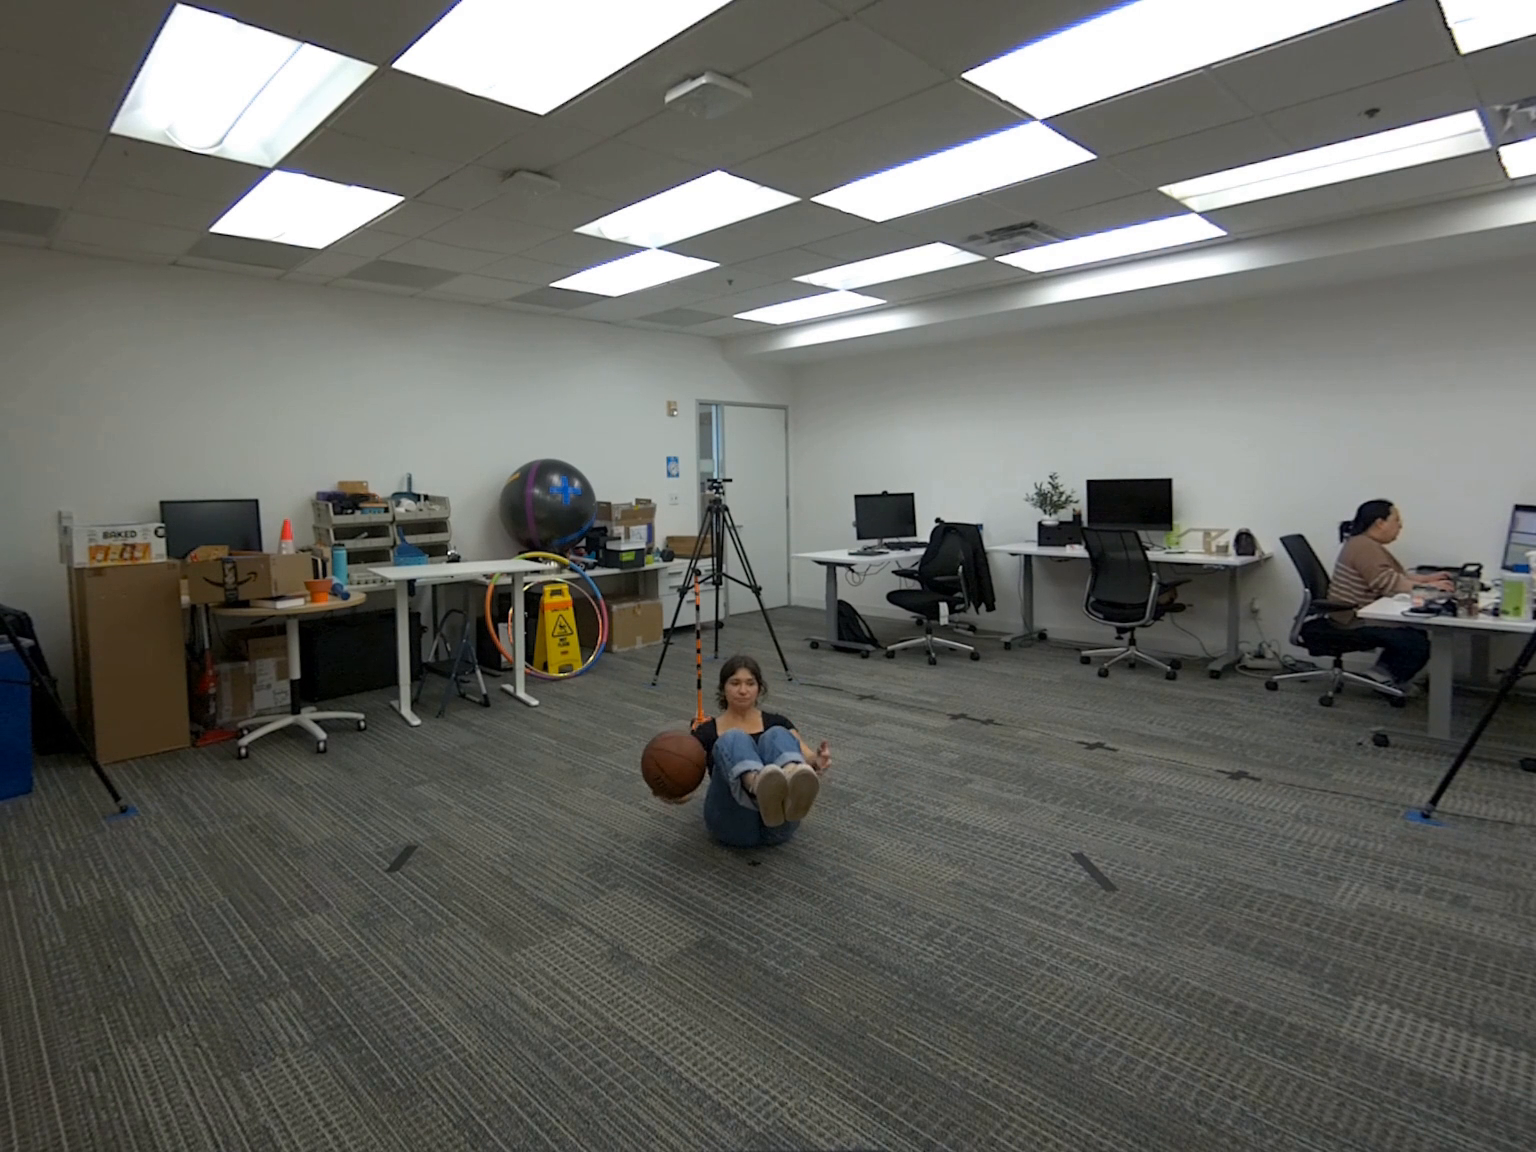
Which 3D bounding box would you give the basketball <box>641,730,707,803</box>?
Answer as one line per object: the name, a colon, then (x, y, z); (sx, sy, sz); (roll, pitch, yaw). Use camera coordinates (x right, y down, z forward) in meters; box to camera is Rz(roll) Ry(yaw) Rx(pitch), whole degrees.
basketball: (-0.324, 0.672, 3.095); (0.236, 0.235, 0.237); (-1, 5, -2)
